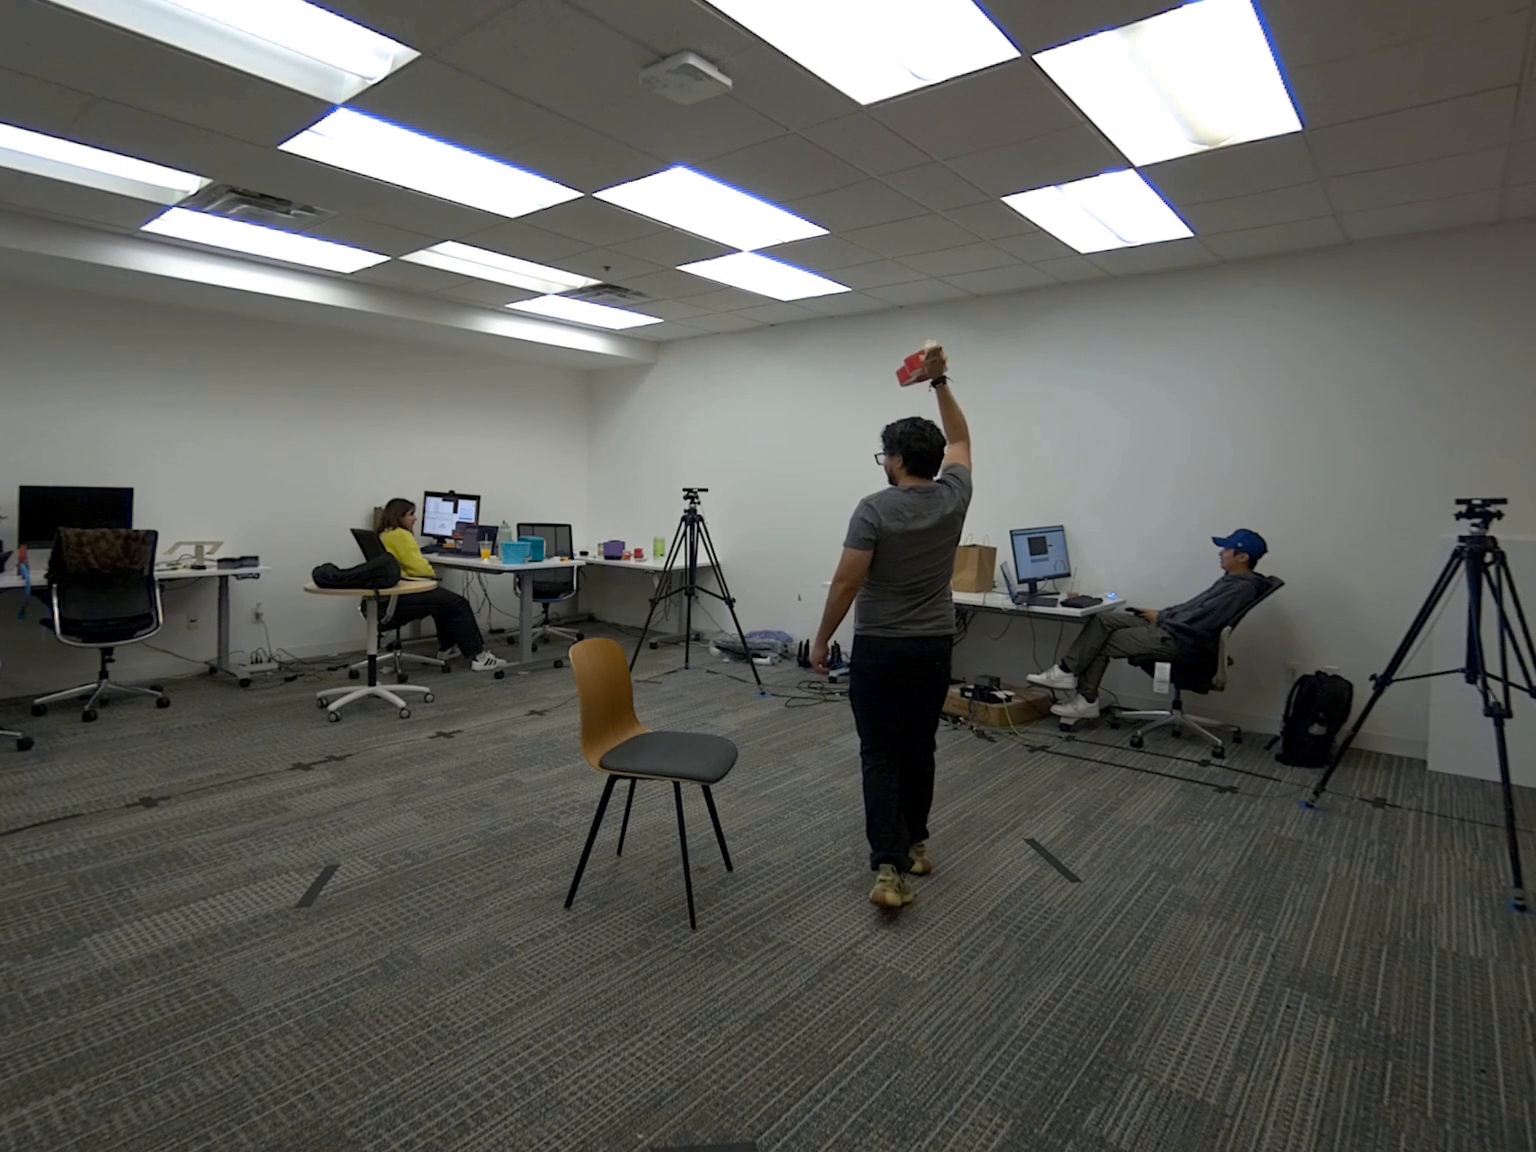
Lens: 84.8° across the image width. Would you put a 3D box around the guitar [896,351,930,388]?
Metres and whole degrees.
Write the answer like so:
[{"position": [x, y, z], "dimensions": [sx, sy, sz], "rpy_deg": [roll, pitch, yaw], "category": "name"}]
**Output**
[{"position": [0.612, -0.817, 3.178], "dimensions": [0.192, 0.071, 0.497], "rpy_deg": [-16, -2, -5], "category": "guitar"}]
